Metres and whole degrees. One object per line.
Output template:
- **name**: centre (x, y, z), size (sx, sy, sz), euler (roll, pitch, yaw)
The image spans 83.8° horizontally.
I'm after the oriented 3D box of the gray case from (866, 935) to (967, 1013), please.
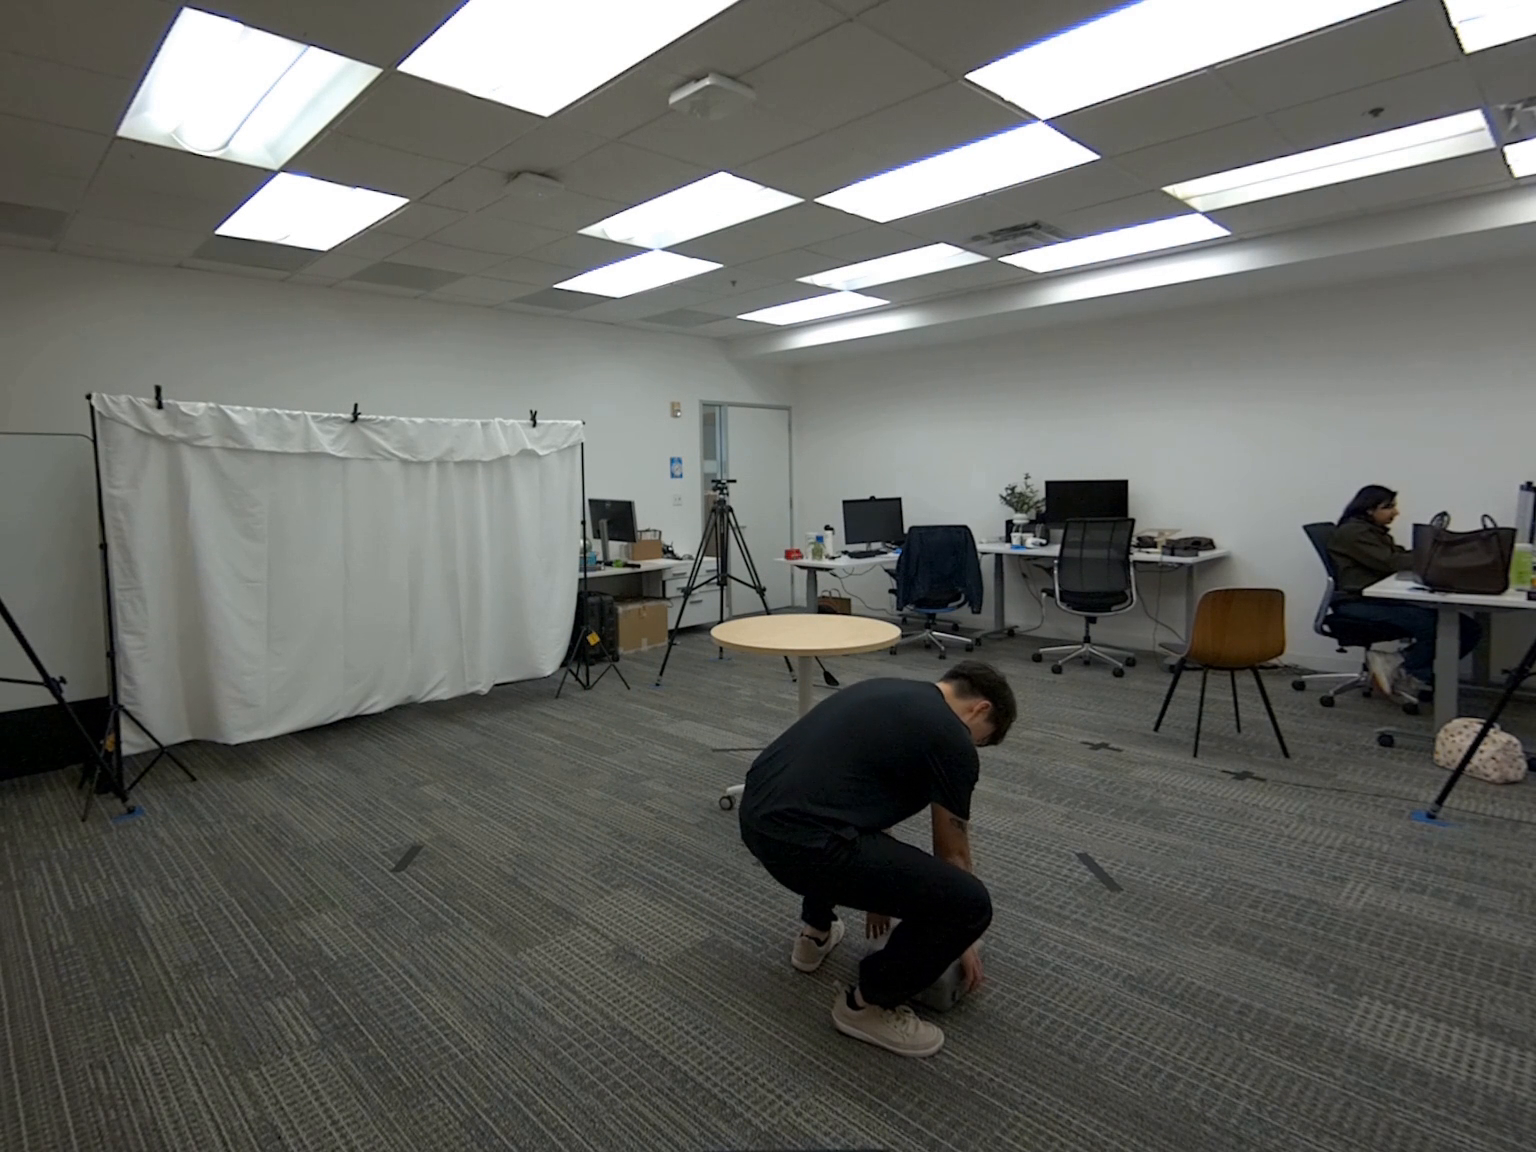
- **gray case**: centre (0.454, 1.070, 2.371), size (0.265, 0.104, 0.254), euler (5, 9, 41)
